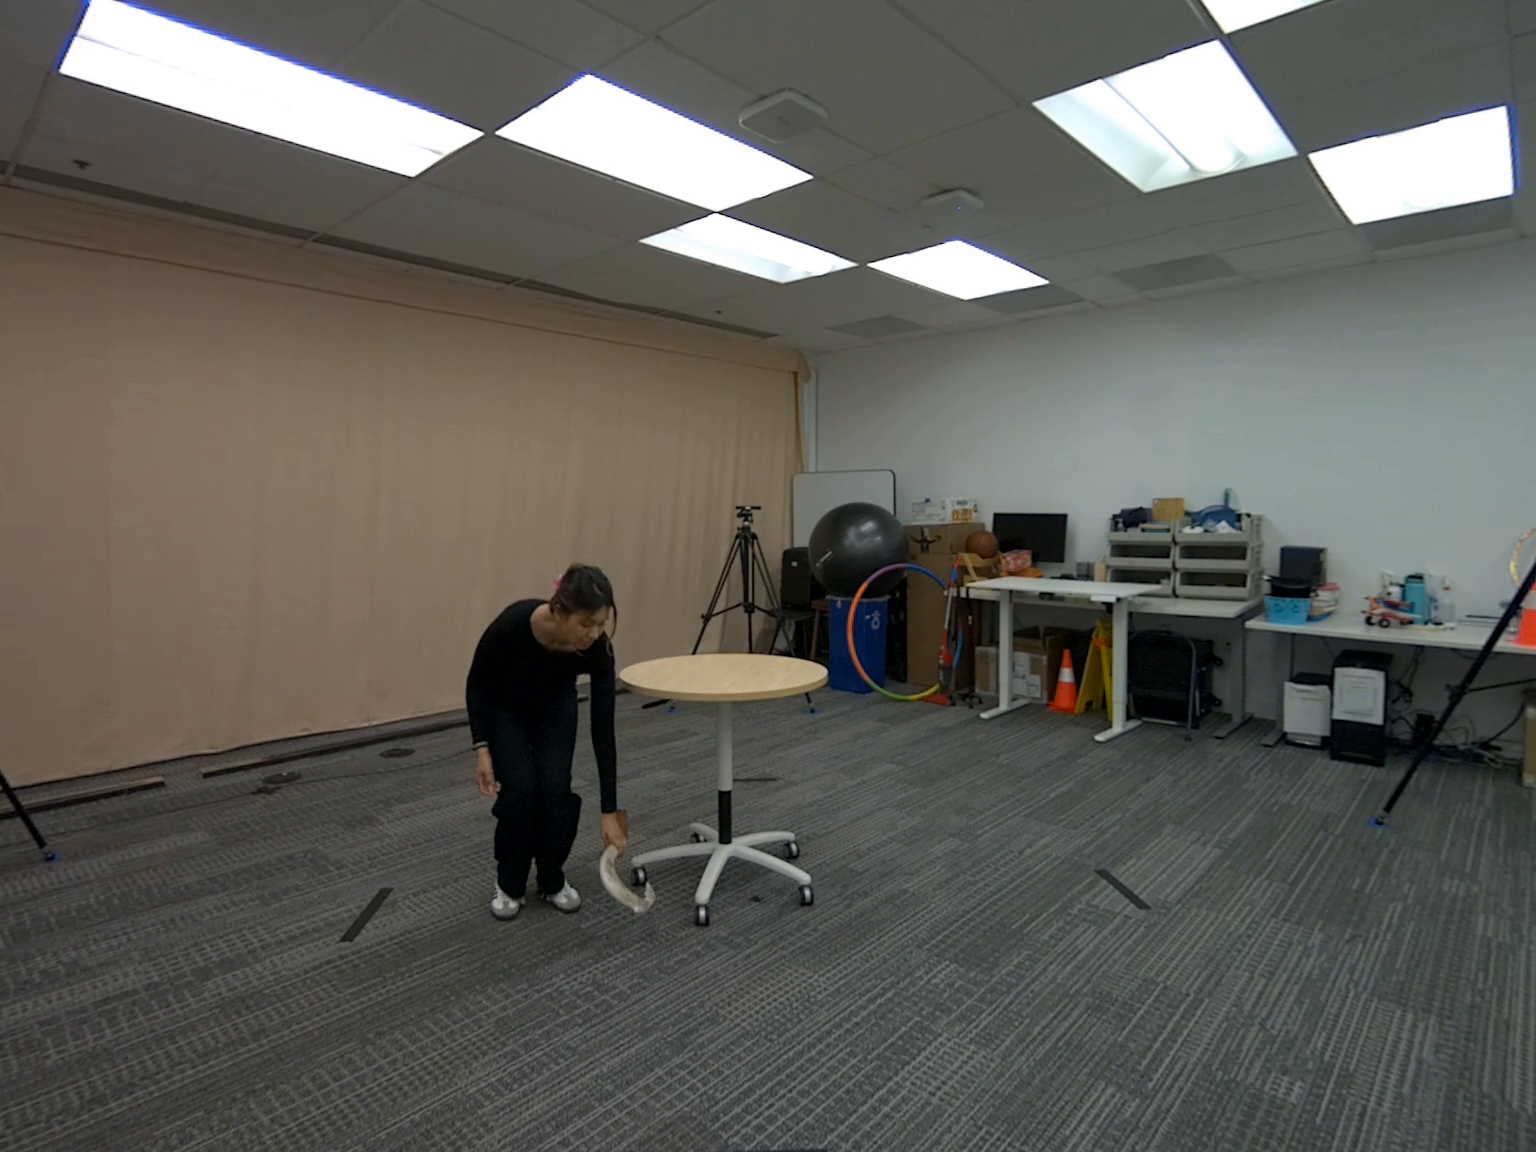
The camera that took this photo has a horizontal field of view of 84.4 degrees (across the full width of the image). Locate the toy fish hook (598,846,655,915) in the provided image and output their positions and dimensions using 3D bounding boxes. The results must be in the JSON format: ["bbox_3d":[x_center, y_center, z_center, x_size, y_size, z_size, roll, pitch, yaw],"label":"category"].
[{"bbox_3d":[-0.461,0.946,2.791,0.048,0.222,0.512,-41,12,3],"label":"toy fish hook"}]
